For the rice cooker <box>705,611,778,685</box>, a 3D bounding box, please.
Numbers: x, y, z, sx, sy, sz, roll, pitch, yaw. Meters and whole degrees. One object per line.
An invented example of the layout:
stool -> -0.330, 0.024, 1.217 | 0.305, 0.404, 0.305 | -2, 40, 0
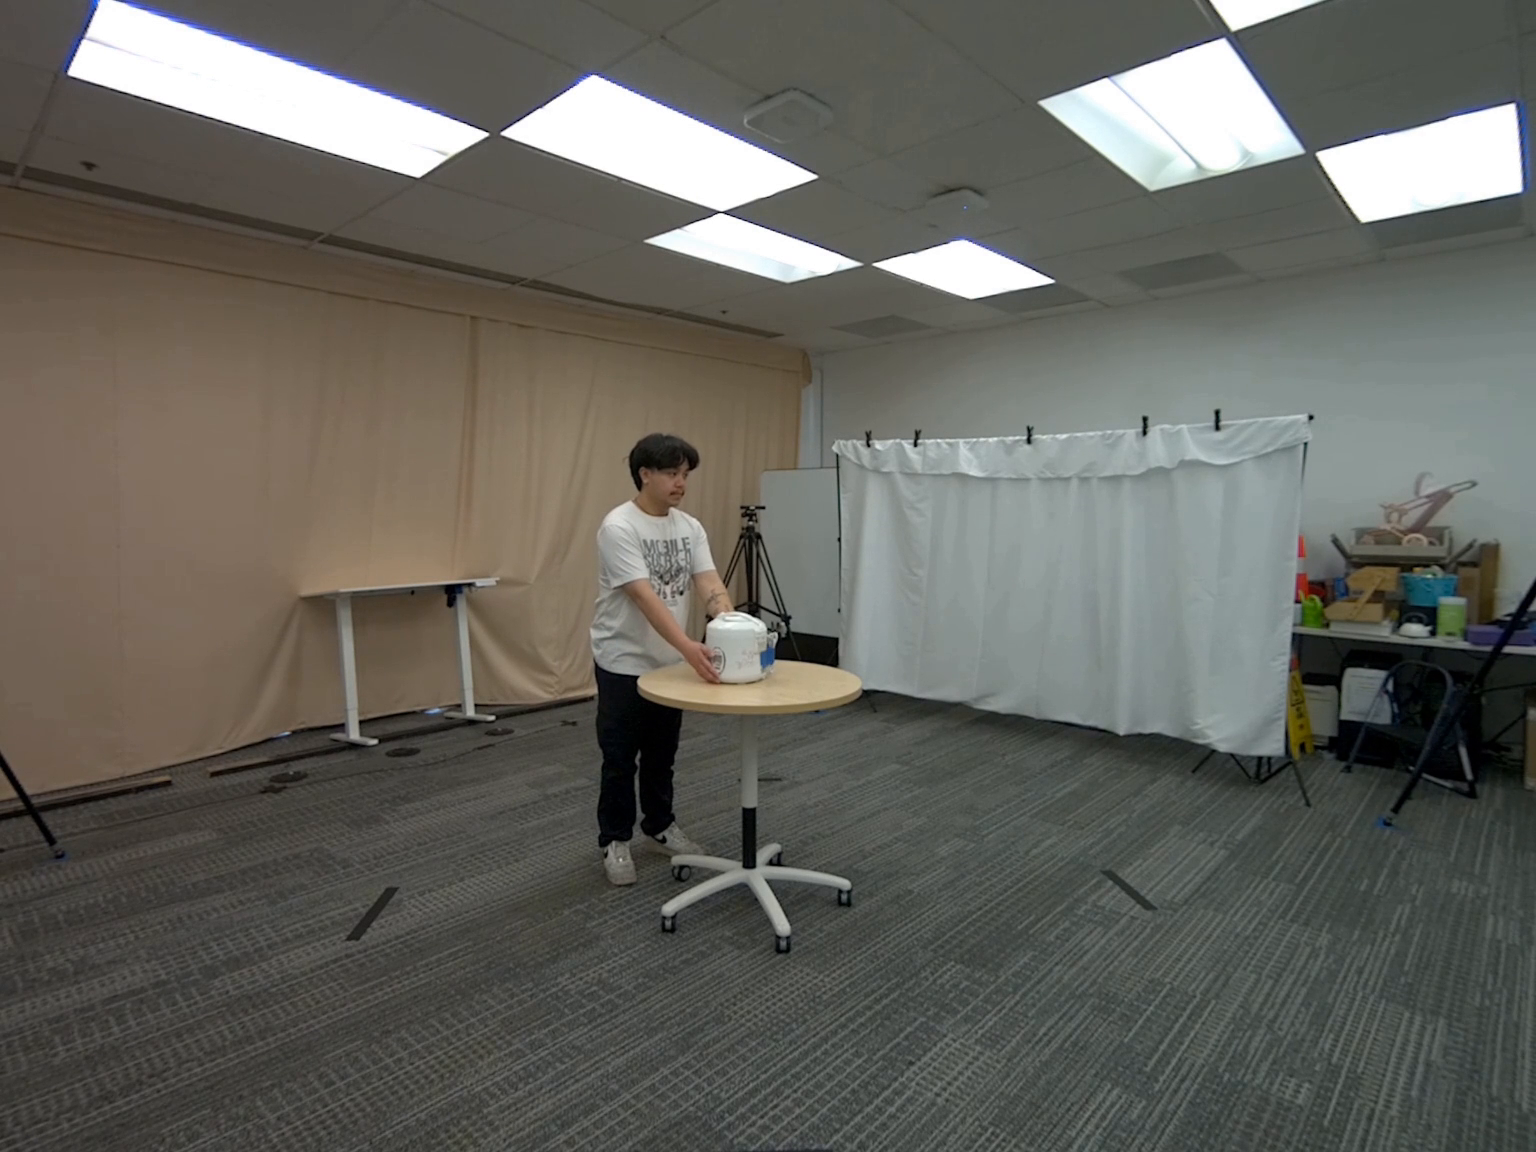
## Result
rice cooker -> -0.093, 0.243, 2.870 | 0.227, 0.232, 0.211 | 3, 4, 32
